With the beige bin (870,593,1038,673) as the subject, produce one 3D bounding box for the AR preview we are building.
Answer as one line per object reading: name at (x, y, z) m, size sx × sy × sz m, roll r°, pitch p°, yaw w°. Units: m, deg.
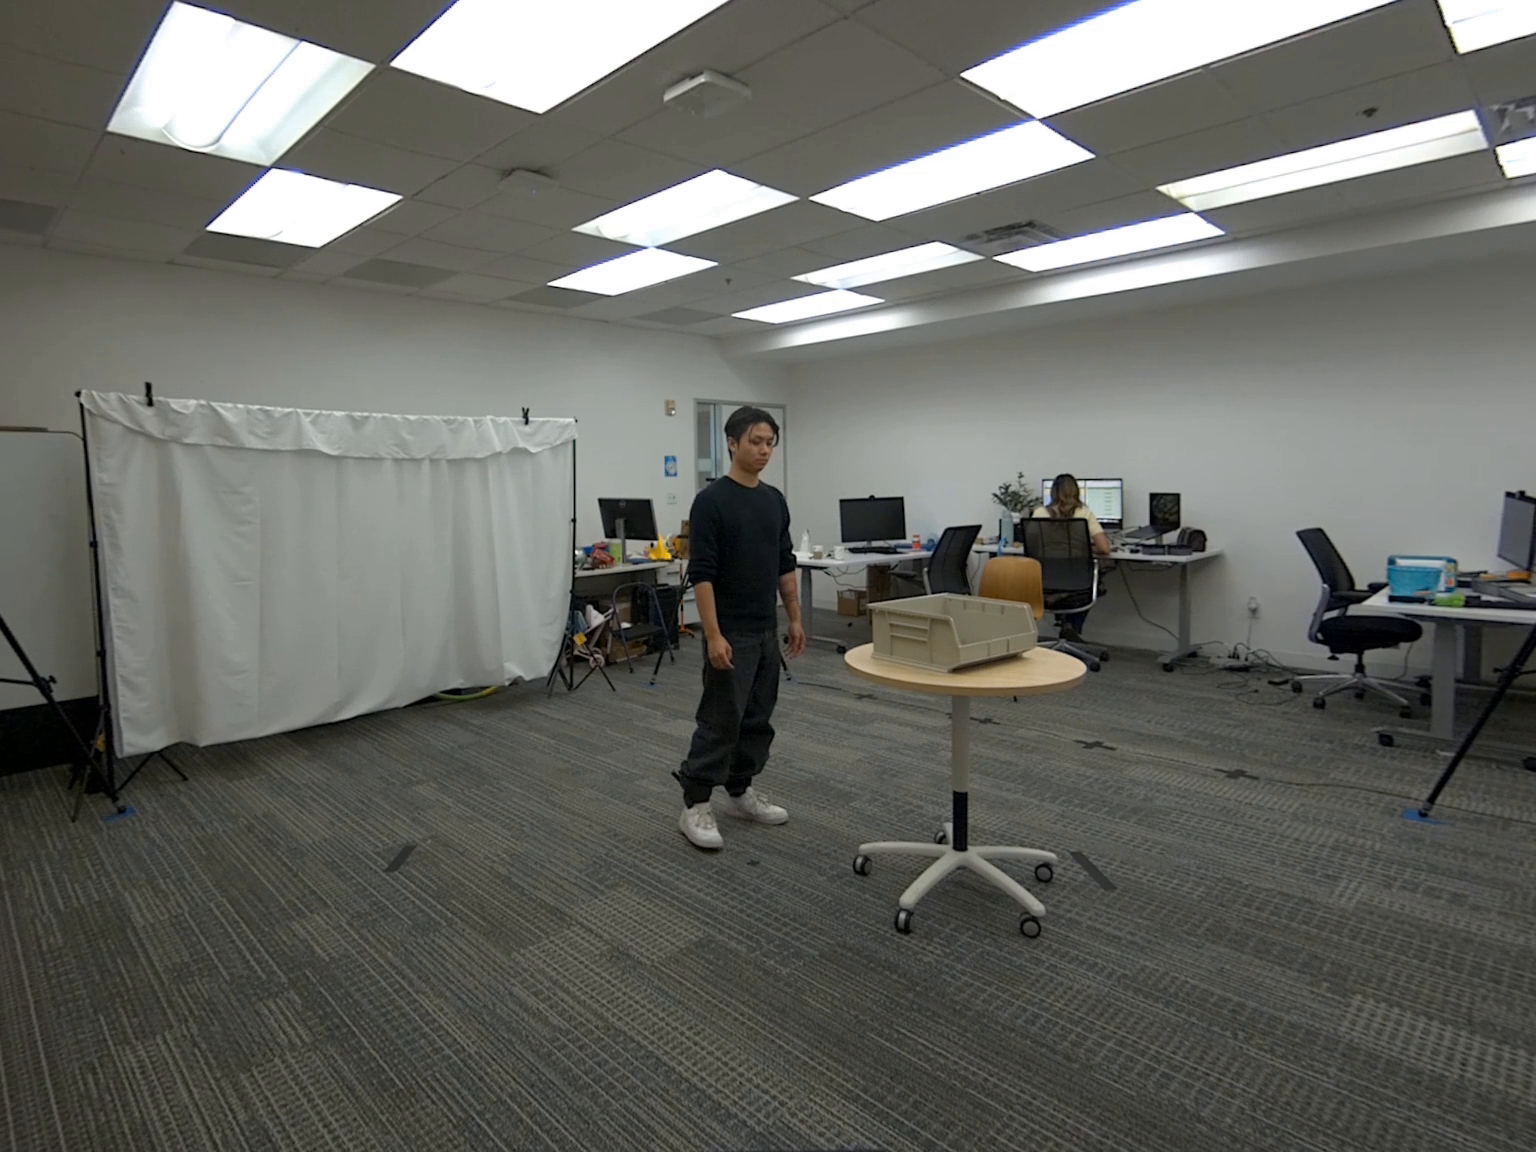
beige bin at (0.611, 0.182, 2.856) m, size 0.411 × 0.188 × 0.388 m, roll -6°, pitch 6°, yaw -38°
